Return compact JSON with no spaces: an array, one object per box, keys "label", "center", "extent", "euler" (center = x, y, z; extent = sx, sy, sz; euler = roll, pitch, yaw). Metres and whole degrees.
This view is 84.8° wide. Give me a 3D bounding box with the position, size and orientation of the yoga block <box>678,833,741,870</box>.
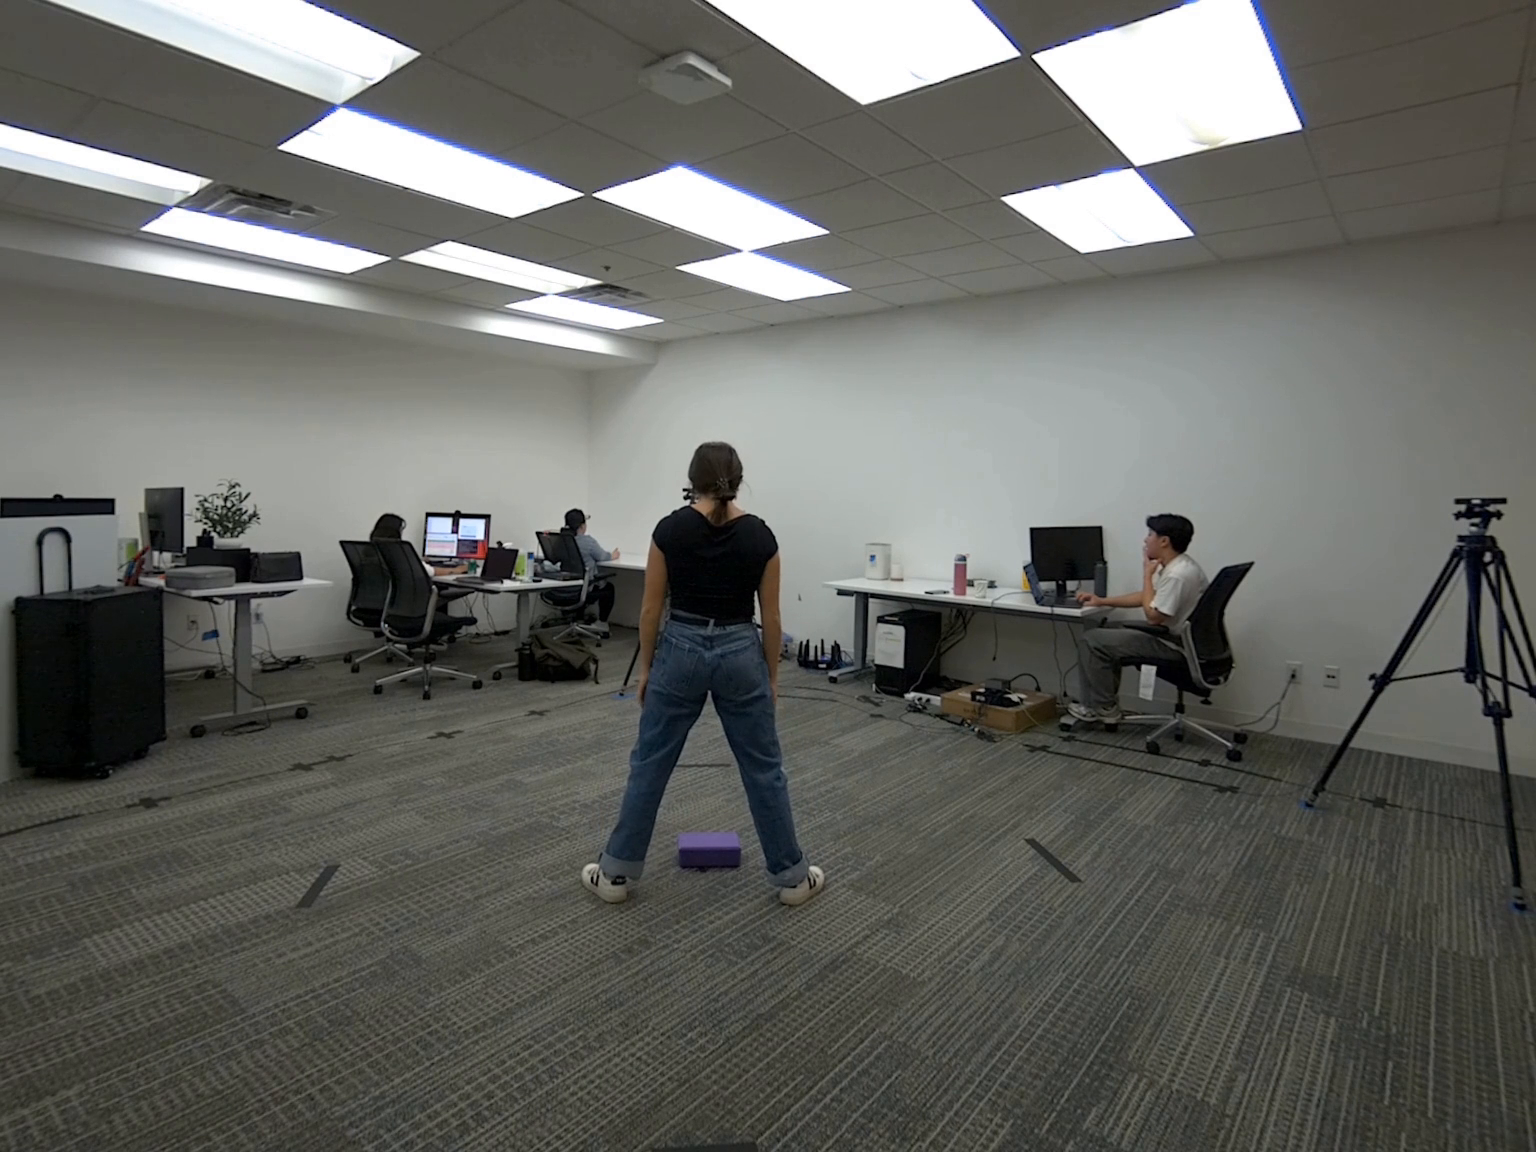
[{"label":"yoga block","center":[-0.220,1.017,3.192],"extent":[0.228,0.076,0.150],"euler":[1,4,-4]}]
